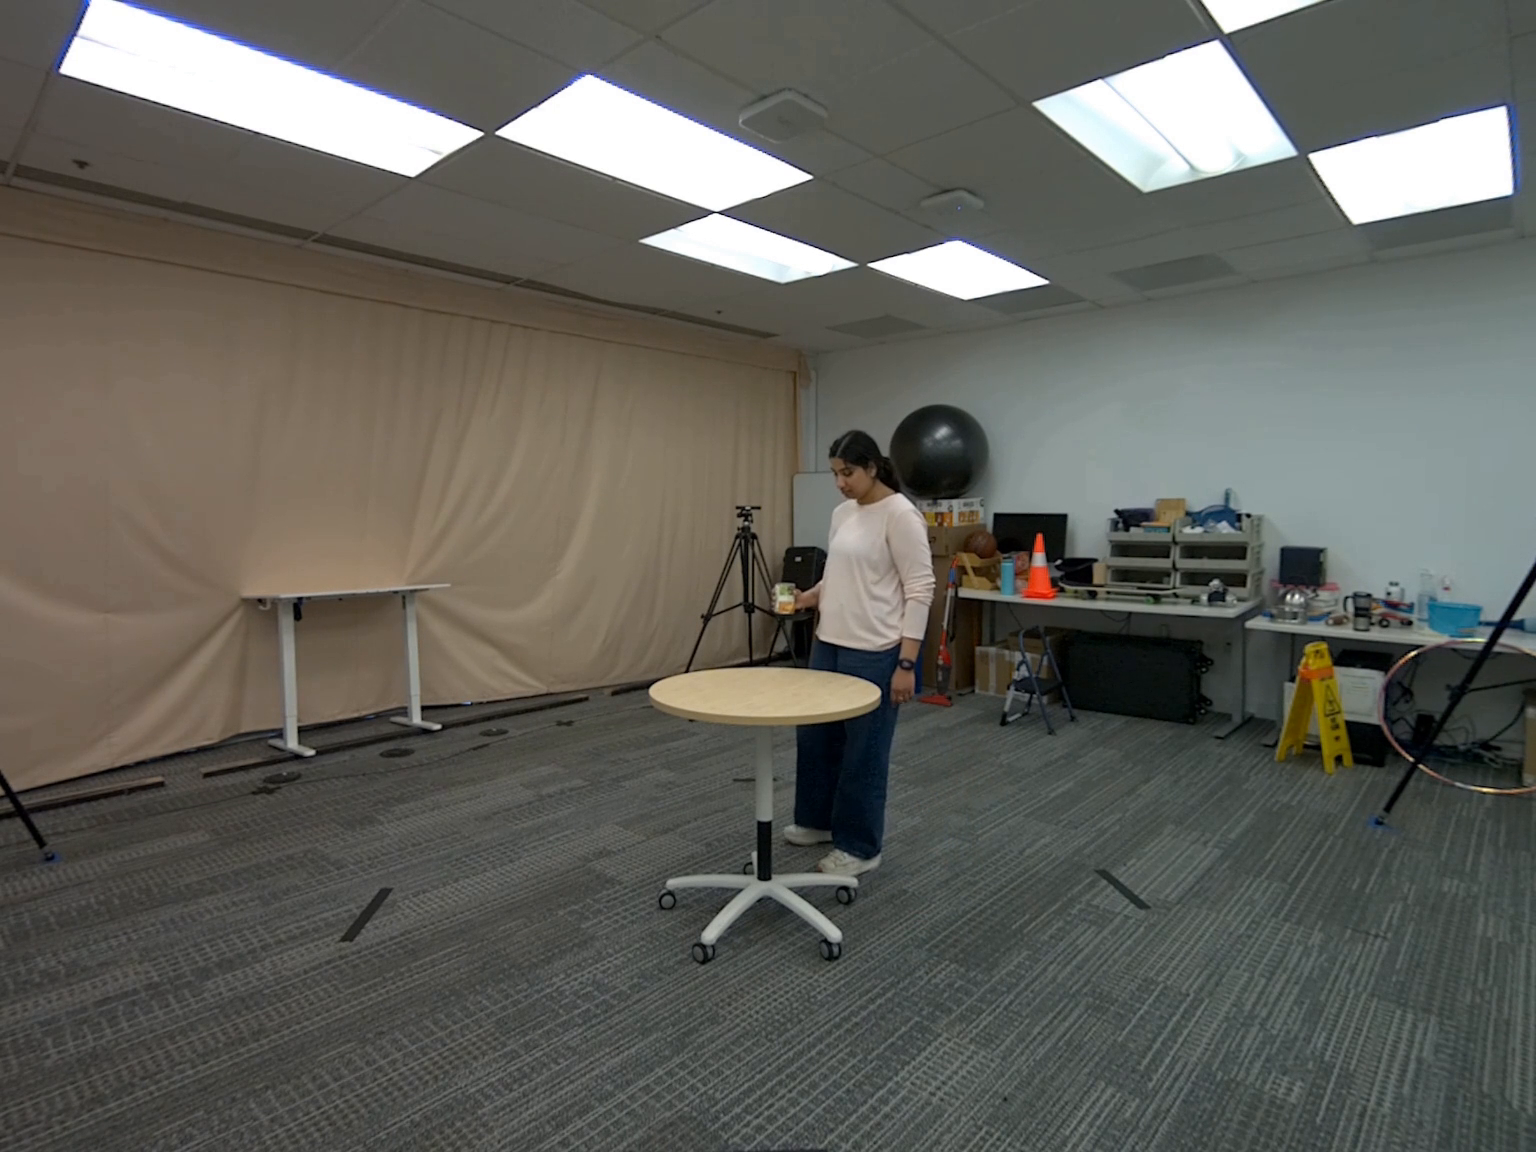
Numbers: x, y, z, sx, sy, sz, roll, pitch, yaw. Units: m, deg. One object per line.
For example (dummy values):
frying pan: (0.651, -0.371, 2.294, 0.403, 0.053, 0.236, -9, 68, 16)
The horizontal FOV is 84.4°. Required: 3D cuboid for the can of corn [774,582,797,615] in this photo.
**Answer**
can of corn: (0.064, 0.086, 3.175, 0.074, 0.111, 0.074, 0, -1, -2)
